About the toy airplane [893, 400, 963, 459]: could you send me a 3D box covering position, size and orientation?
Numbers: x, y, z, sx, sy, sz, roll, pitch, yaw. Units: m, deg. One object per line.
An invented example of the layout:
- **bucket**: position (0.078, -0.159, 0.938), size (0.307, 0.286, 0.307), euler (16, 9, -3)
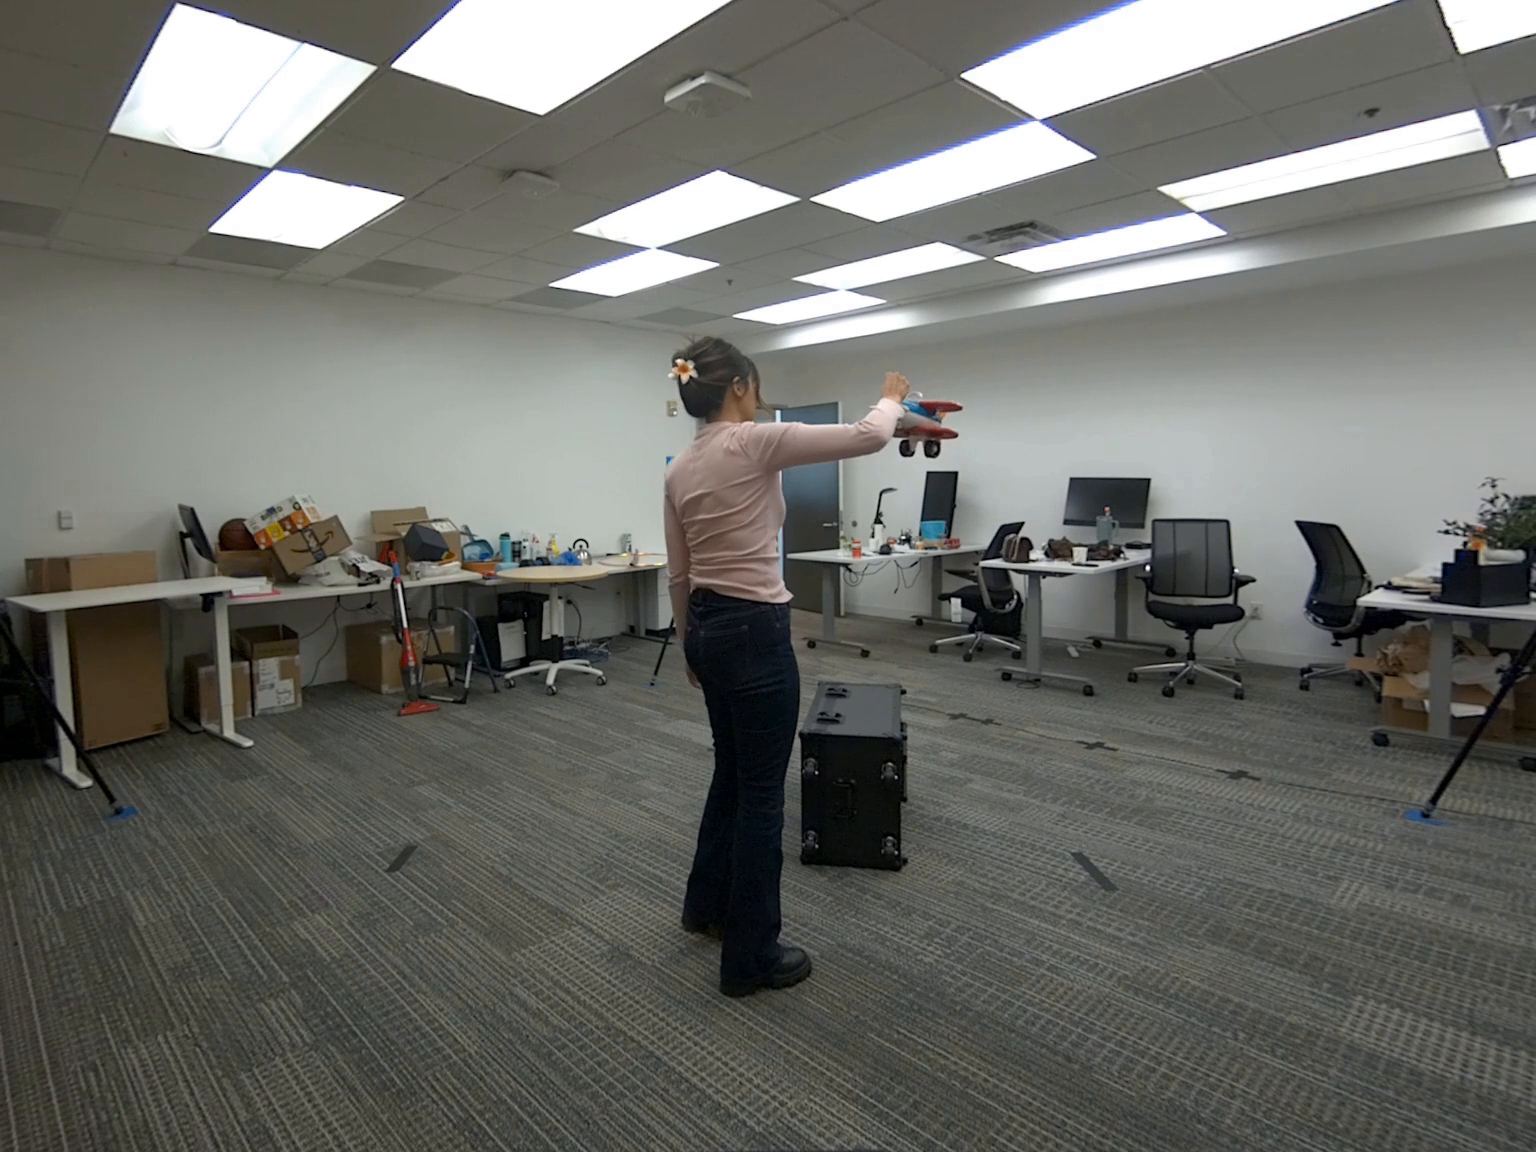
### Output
- **toy airplane**: position (0.427, -0.448, 2.451), size (0.256, 0.157, 0.252), euler (15, -12, 17)
